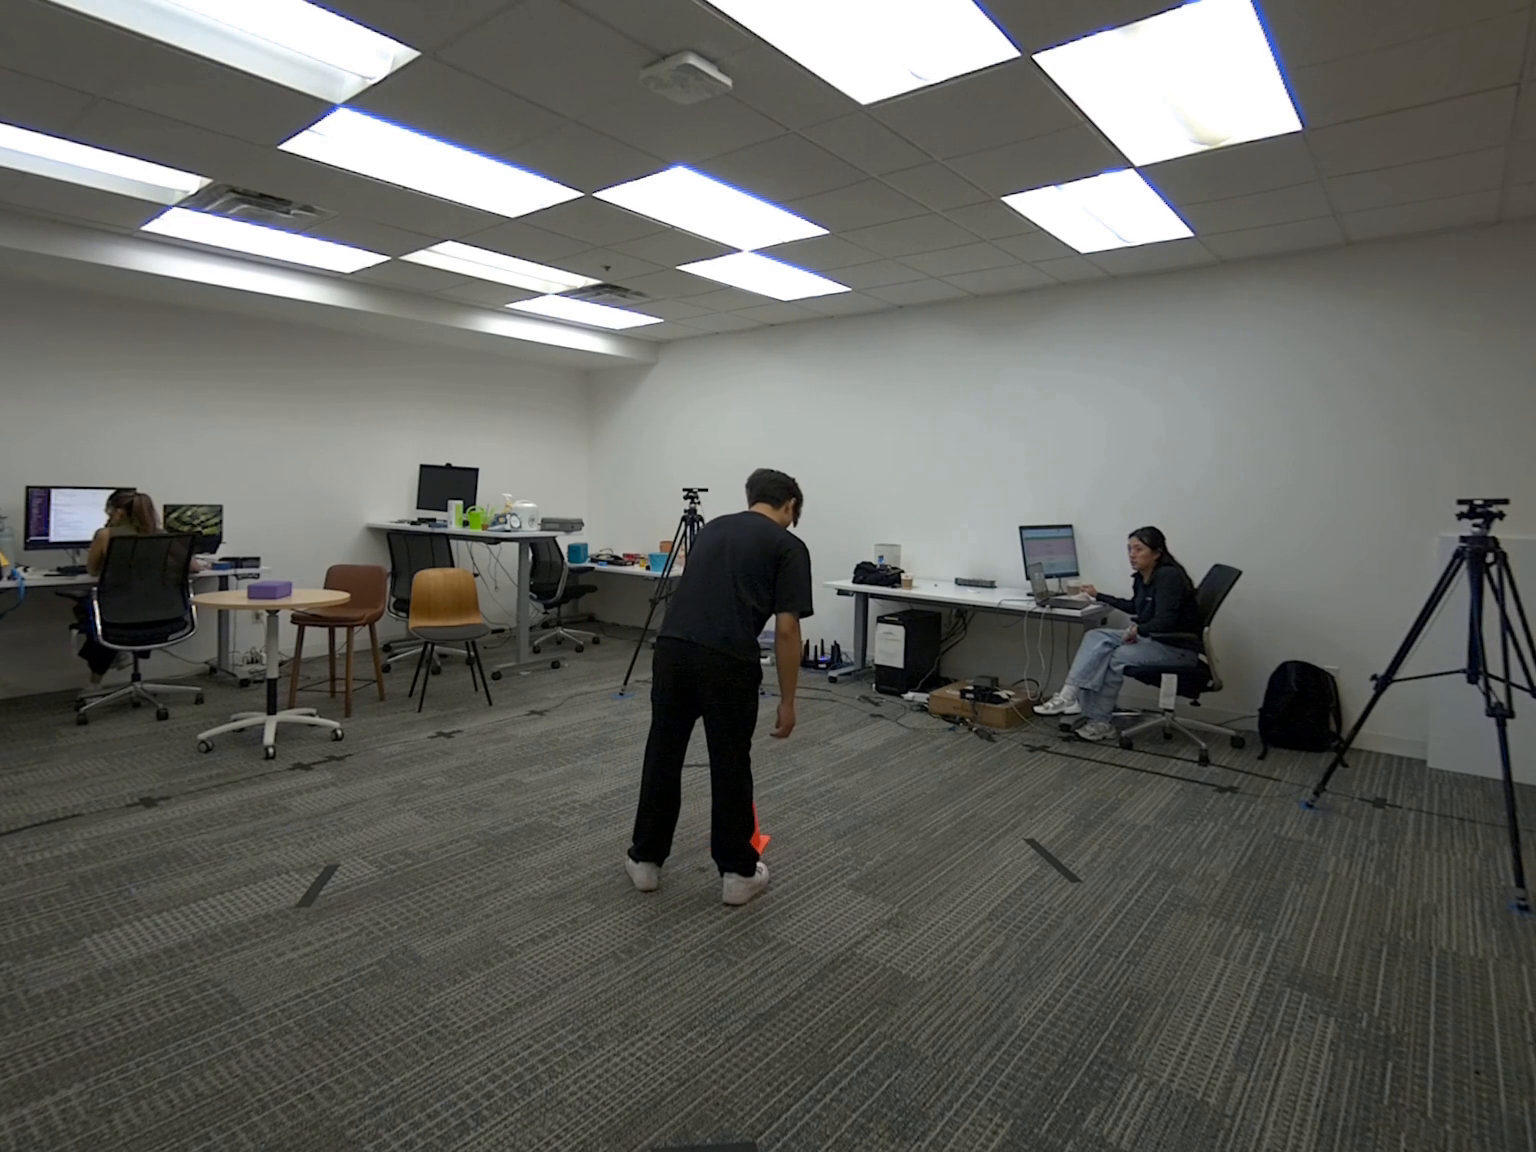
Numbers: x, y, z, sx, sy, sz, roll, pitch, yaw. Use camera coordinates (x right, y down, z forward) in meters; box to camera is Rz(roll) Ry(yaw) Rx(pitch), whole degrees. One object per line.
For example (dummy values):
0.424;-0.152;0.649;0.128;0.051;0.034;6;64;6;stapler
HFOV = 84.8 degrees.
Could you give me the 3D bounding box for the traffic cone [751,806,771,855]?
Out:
-0.108;0.859;3.336;0.209;0.382;0.200;3;4;17;traffic cone
